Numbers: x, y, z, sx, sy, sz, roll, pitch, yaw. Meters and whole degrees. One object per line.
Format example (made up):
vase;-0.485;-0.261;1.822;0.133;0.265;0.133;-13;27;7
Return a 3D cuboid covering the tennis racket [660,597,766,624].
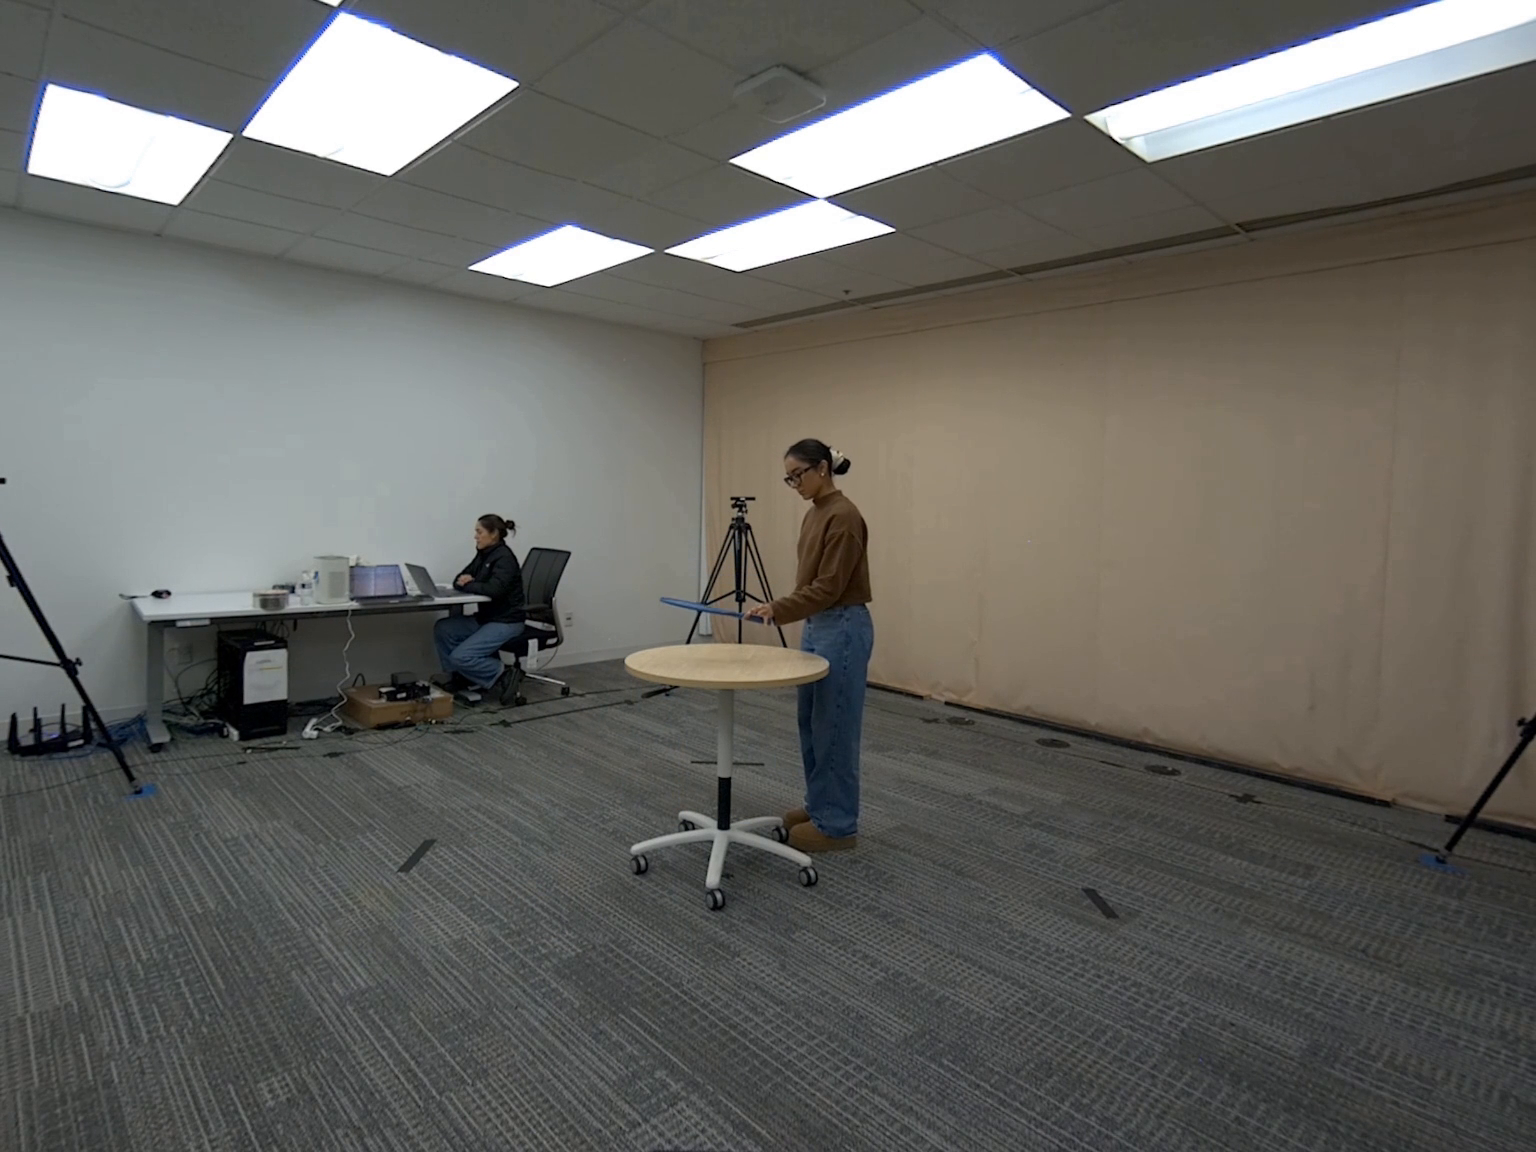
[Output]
tennis racket;-0.184;0.125;3.117;0.426;0.032;0.217;10;3;-18
